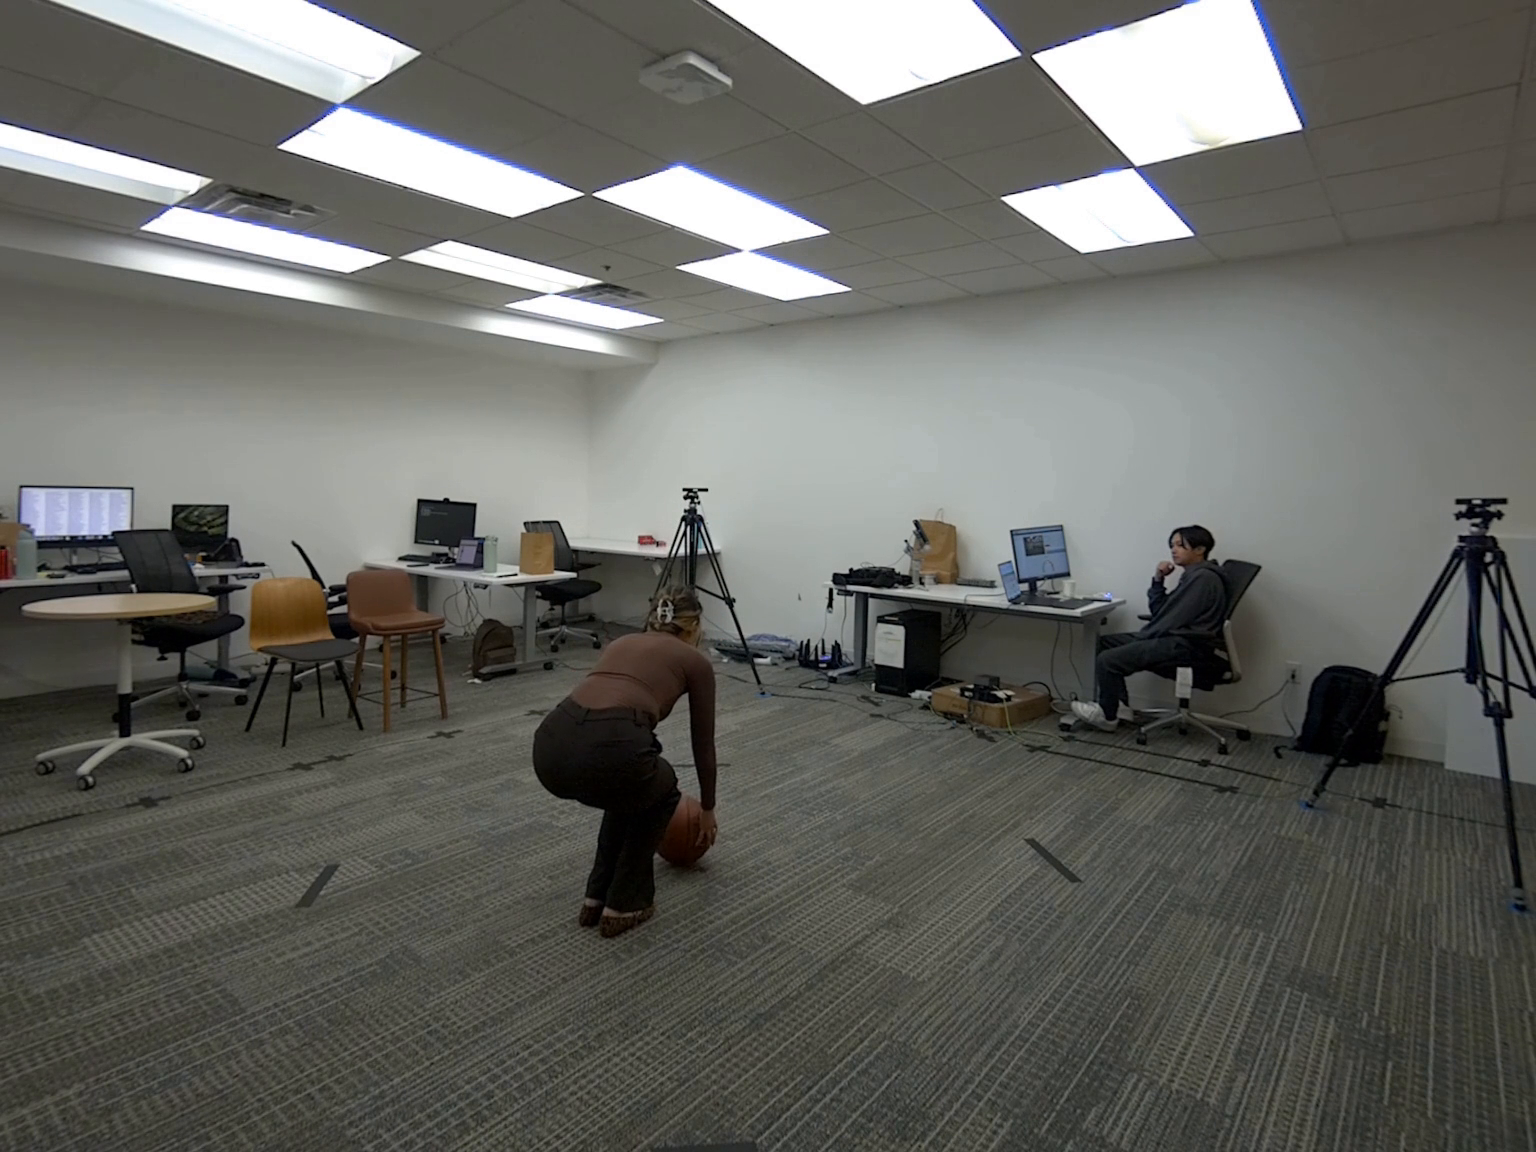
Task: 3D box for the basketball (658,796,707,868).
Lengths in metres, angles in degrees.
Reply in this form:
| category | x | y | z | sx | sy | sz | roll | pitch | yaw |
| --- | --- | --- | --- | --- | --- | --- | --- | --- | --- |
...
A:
| category | x | y | z | sx | sy | sz | roll | pitch | yaw |
| --- | --- | --- | --- | --- | --- | --- | --- | --- | --- |
| basketball | -0.326 | 0.927 | 3.155 | 0.235 | 0.235 | 0.237 | 1 | 4 | -2 |
